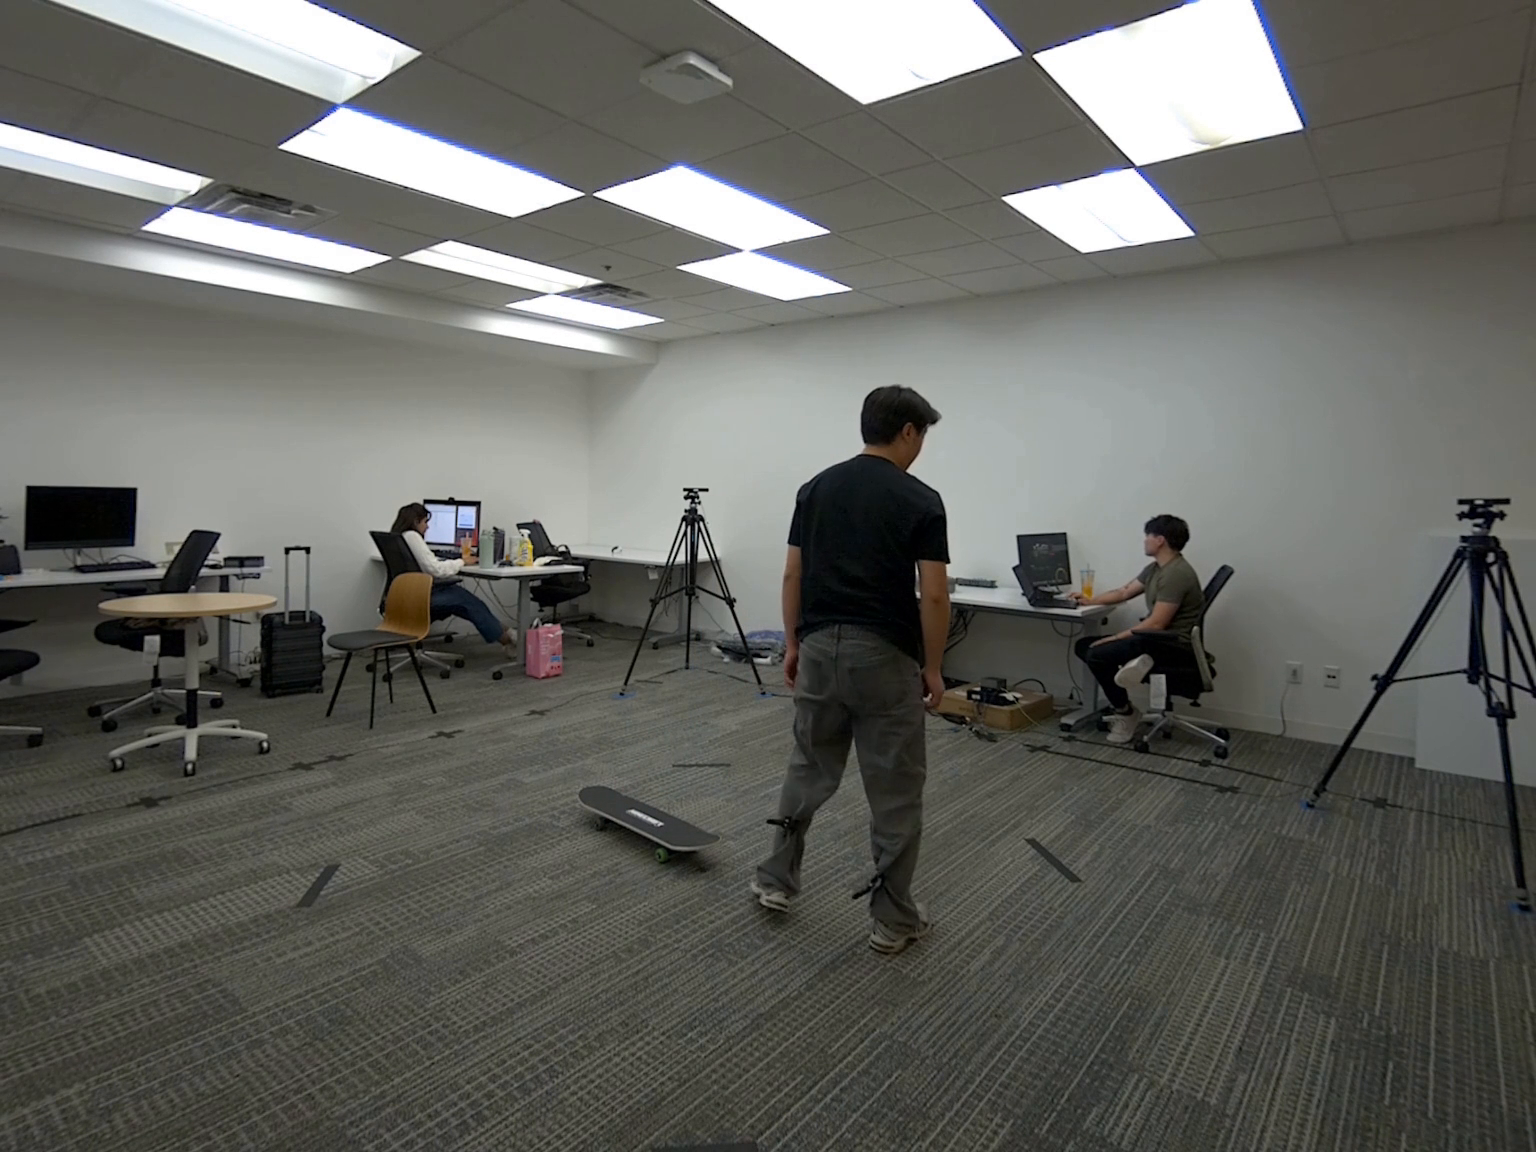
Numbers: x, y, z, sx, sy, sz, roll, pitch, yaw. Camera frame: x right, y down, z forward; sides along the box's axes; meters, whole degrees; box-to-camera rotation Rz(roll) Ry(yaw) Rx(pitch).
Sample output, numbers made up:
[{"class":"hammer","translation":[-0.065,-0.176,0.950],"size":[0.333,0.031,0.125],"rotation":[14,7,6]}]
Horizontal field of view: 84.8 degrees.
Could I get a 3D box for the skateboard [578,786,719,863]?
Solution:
[{"class":"skateboard","translation":[-0.499,0.982,3.357],"size":[0.813,0.110,0.188],"rotation":[6,8,44]}]
